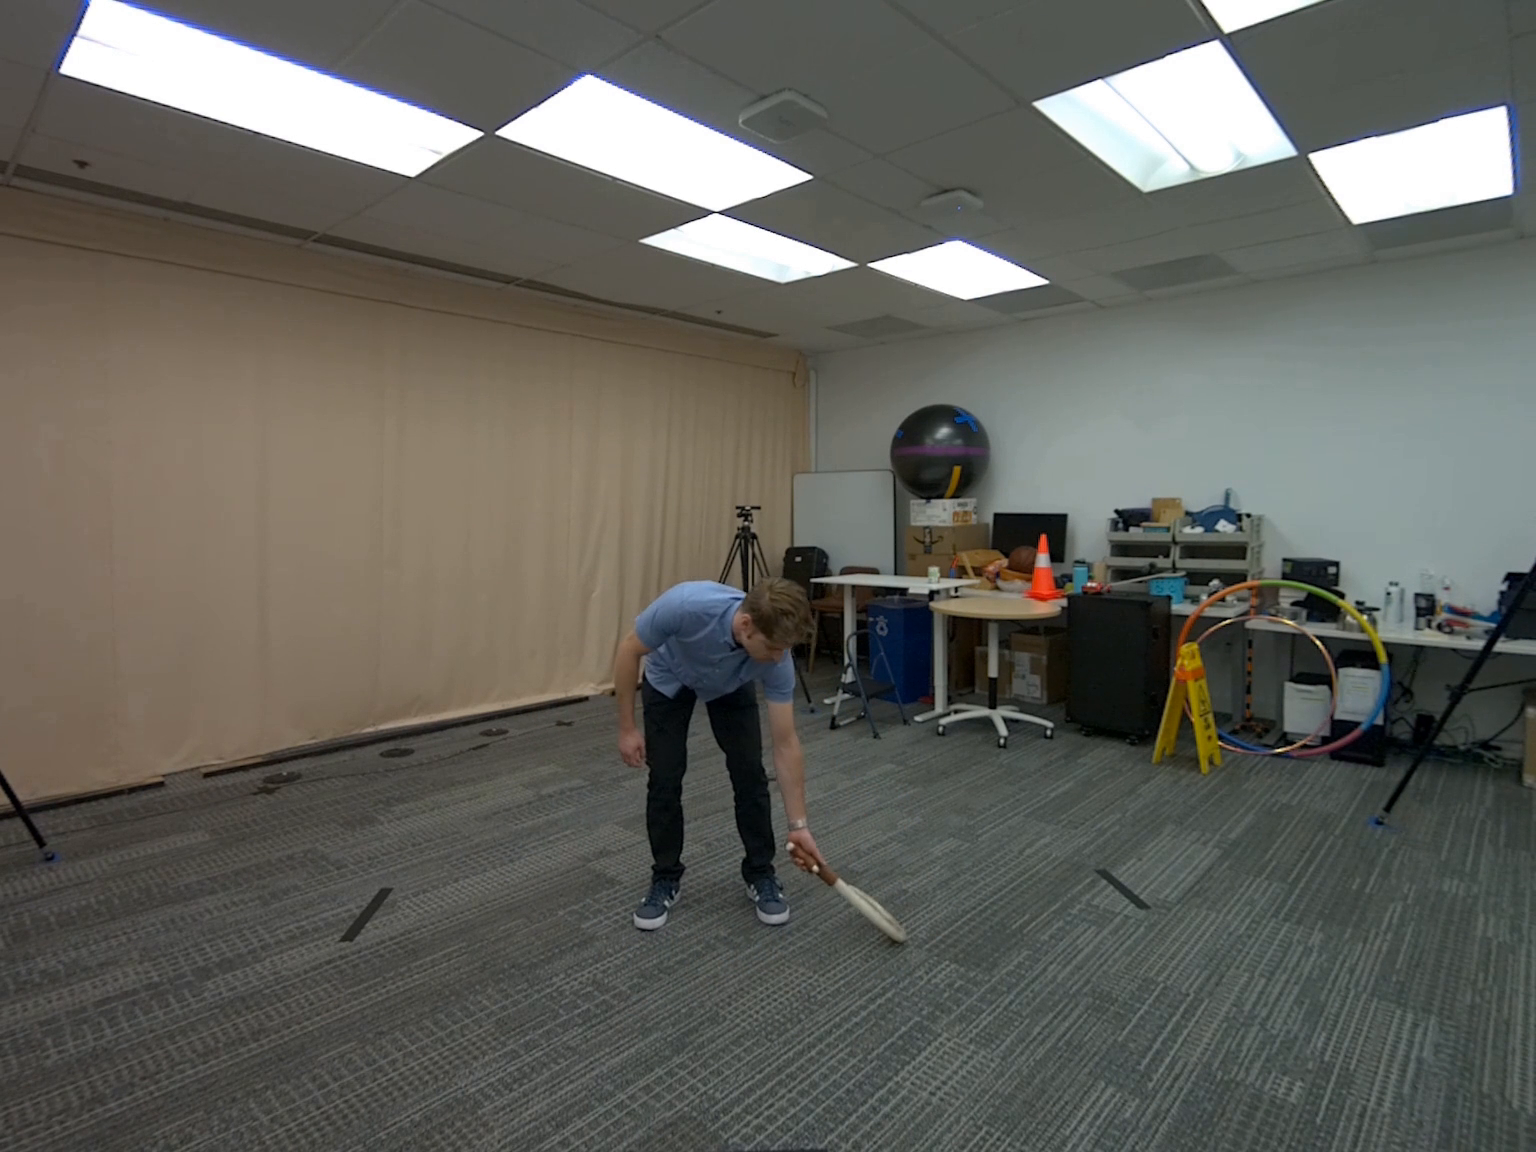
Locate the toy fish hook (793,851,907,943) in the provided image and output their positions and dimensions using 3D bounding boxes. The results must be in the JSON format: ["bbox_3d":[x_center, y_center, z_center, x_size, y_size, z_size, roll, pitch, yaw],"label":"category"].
[{"bbox_3d":[0.243,1.002,2.716,0.503,0.048,0.226,41,-7,-6],"label":"toy fish hook"}]
